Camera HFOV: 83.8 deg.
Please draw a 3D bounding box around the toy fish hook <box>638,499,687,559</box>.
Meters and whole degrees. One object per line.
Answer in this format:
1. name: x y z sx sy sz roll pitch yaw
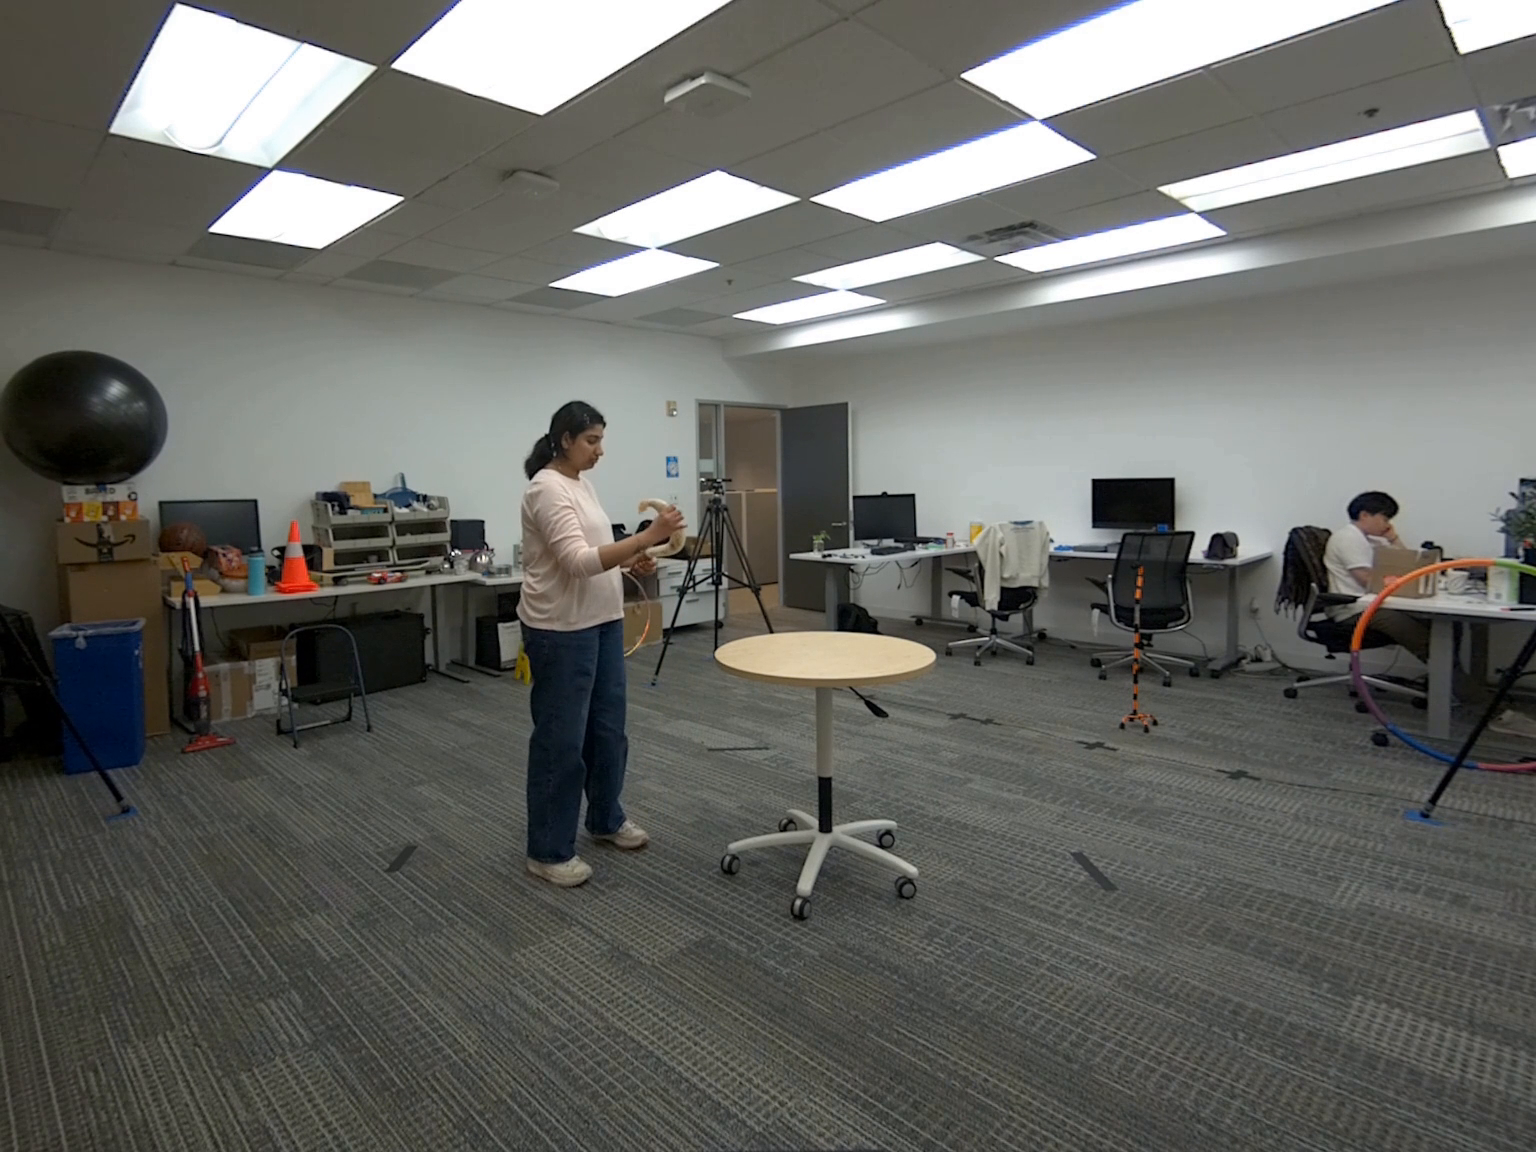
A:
1. toy fish hook: -0.443 -0.141 3.112 0.048 0.225 0.510 -30 -2 -34
